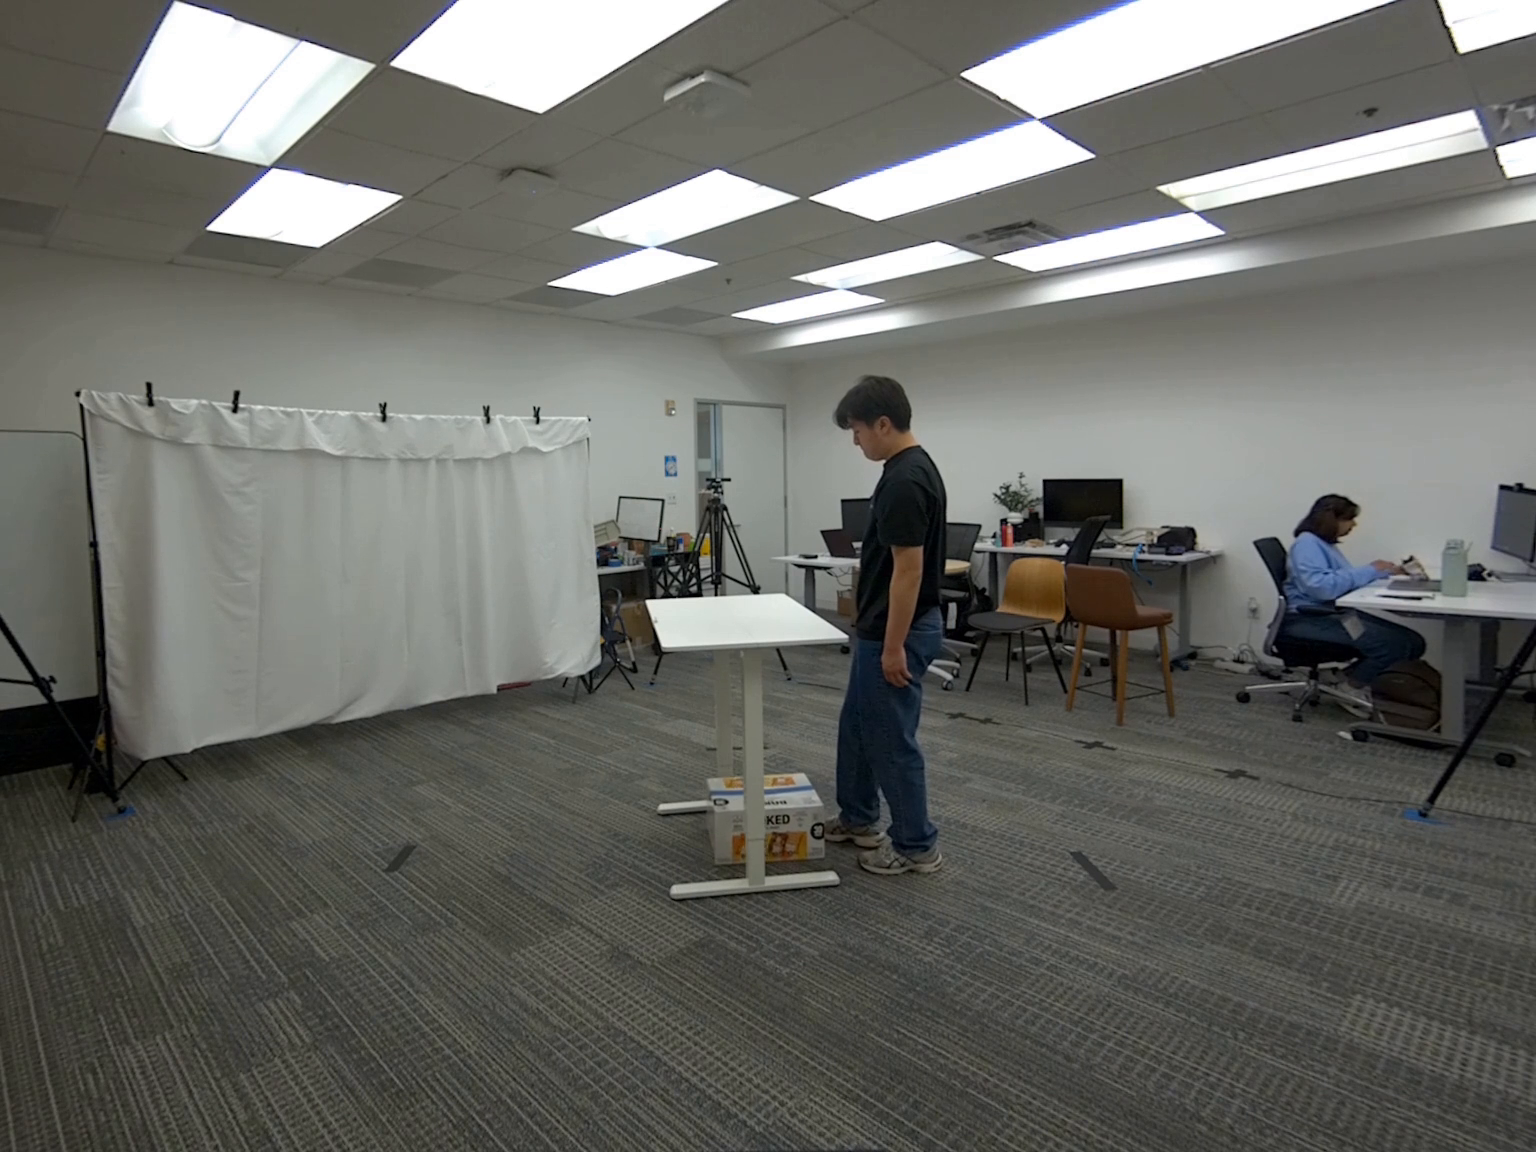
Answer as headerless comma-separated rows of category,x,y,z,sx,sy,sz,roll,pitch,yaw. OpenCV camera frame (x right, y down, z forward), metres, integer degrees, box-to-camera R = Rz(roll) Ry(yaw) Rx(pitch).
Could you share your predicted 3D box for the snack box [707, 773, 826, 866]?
snack box,-0.016,0.921,3.263,0.402,0.205,0.344,-2,6,-8
